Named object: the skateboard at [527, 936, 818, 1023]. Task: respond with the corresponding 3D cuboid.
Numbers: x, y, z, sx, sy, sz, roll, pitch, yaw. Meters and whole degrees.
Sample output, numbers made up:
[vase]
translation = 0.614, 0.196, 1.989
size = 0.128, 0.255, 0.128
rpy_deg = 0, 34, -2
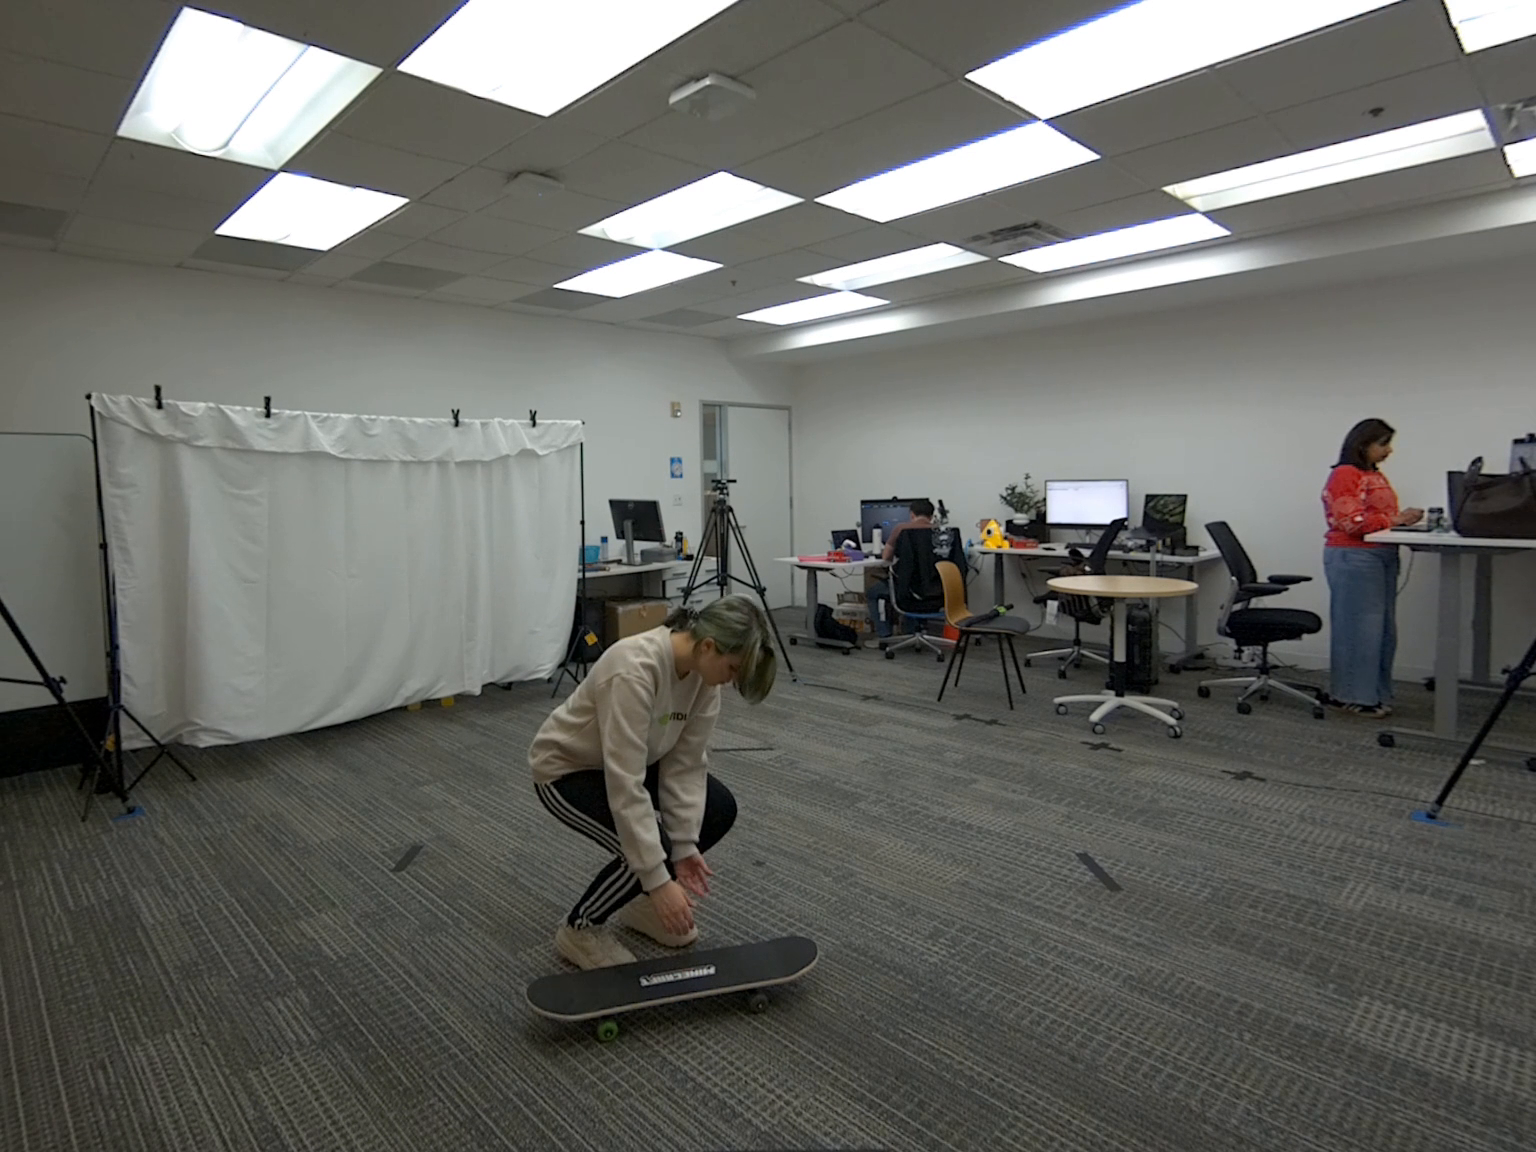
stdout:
[skateboard]
translation = -0.232, 1.090, 2.272
size = 0.775, 0.110, 0.197
rpy_deg = -3, 6, -14
